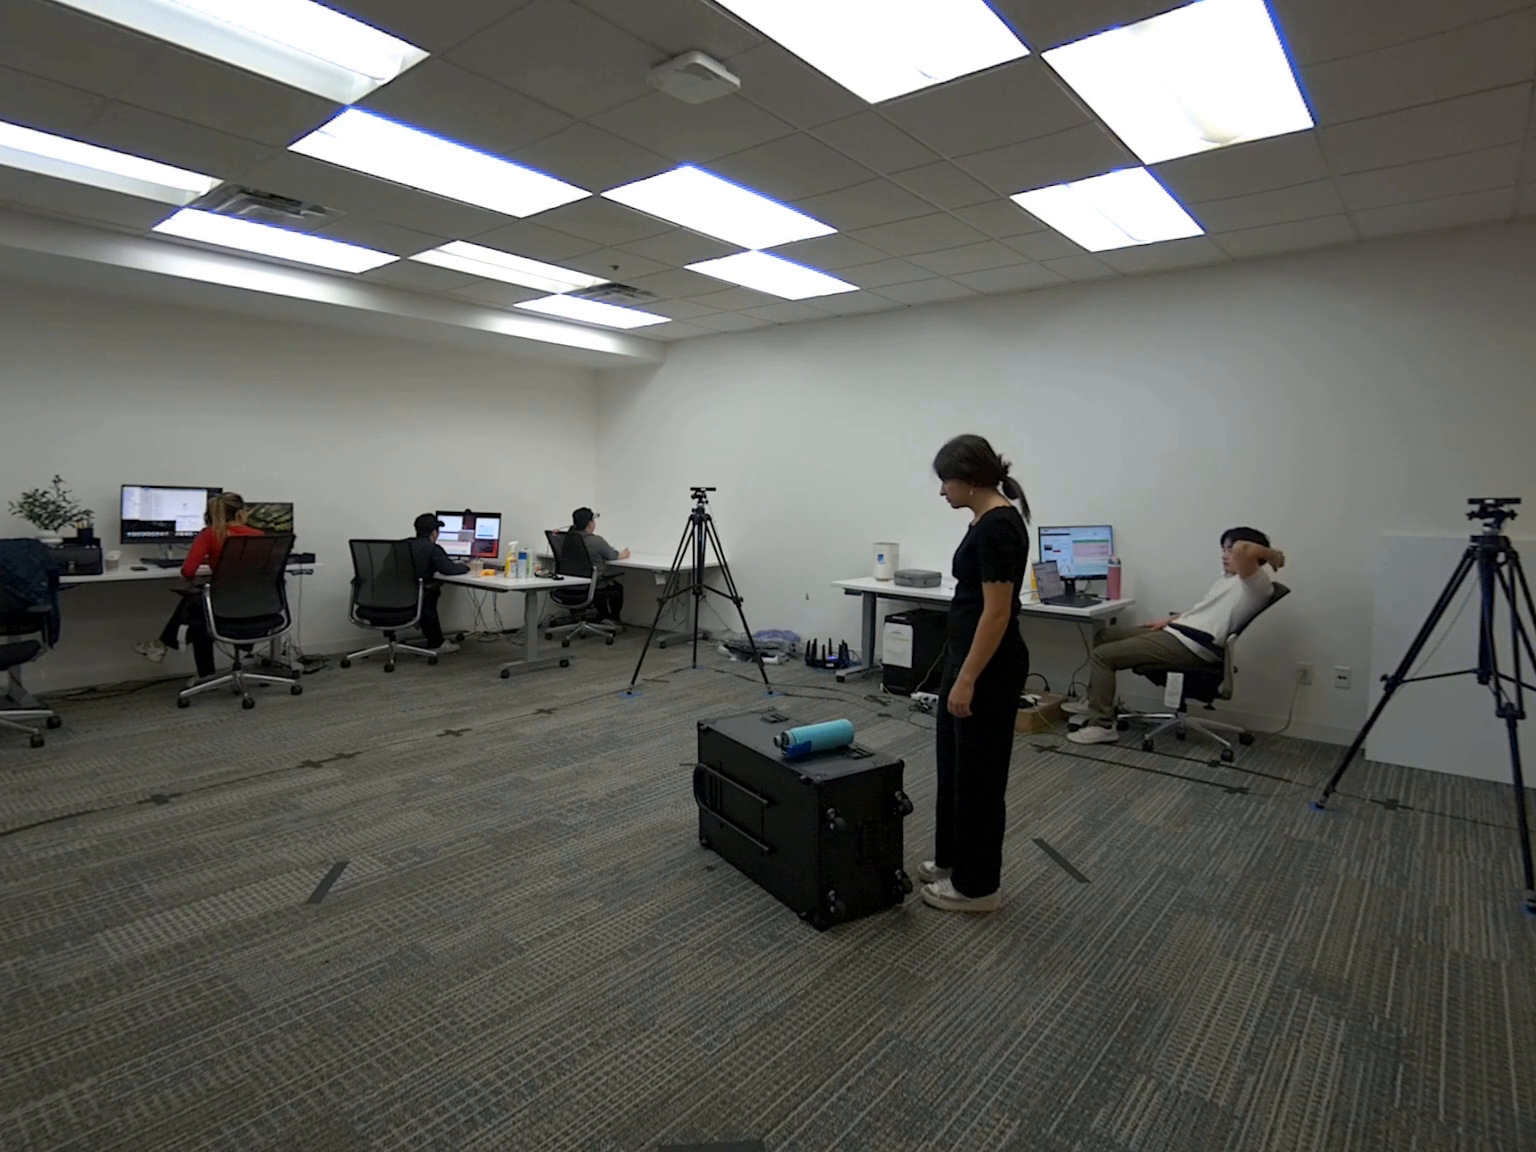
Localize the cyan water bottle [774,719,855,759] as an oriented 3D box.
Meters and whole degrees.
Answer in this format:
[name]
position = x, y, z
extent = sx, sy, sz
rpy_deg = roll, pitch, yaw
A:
[cyan water bottle]
position = 0.150, 0.555, 2.939
extent = 0.277, 0.092, 0.095
rpy_deg = -5, 6, -25
